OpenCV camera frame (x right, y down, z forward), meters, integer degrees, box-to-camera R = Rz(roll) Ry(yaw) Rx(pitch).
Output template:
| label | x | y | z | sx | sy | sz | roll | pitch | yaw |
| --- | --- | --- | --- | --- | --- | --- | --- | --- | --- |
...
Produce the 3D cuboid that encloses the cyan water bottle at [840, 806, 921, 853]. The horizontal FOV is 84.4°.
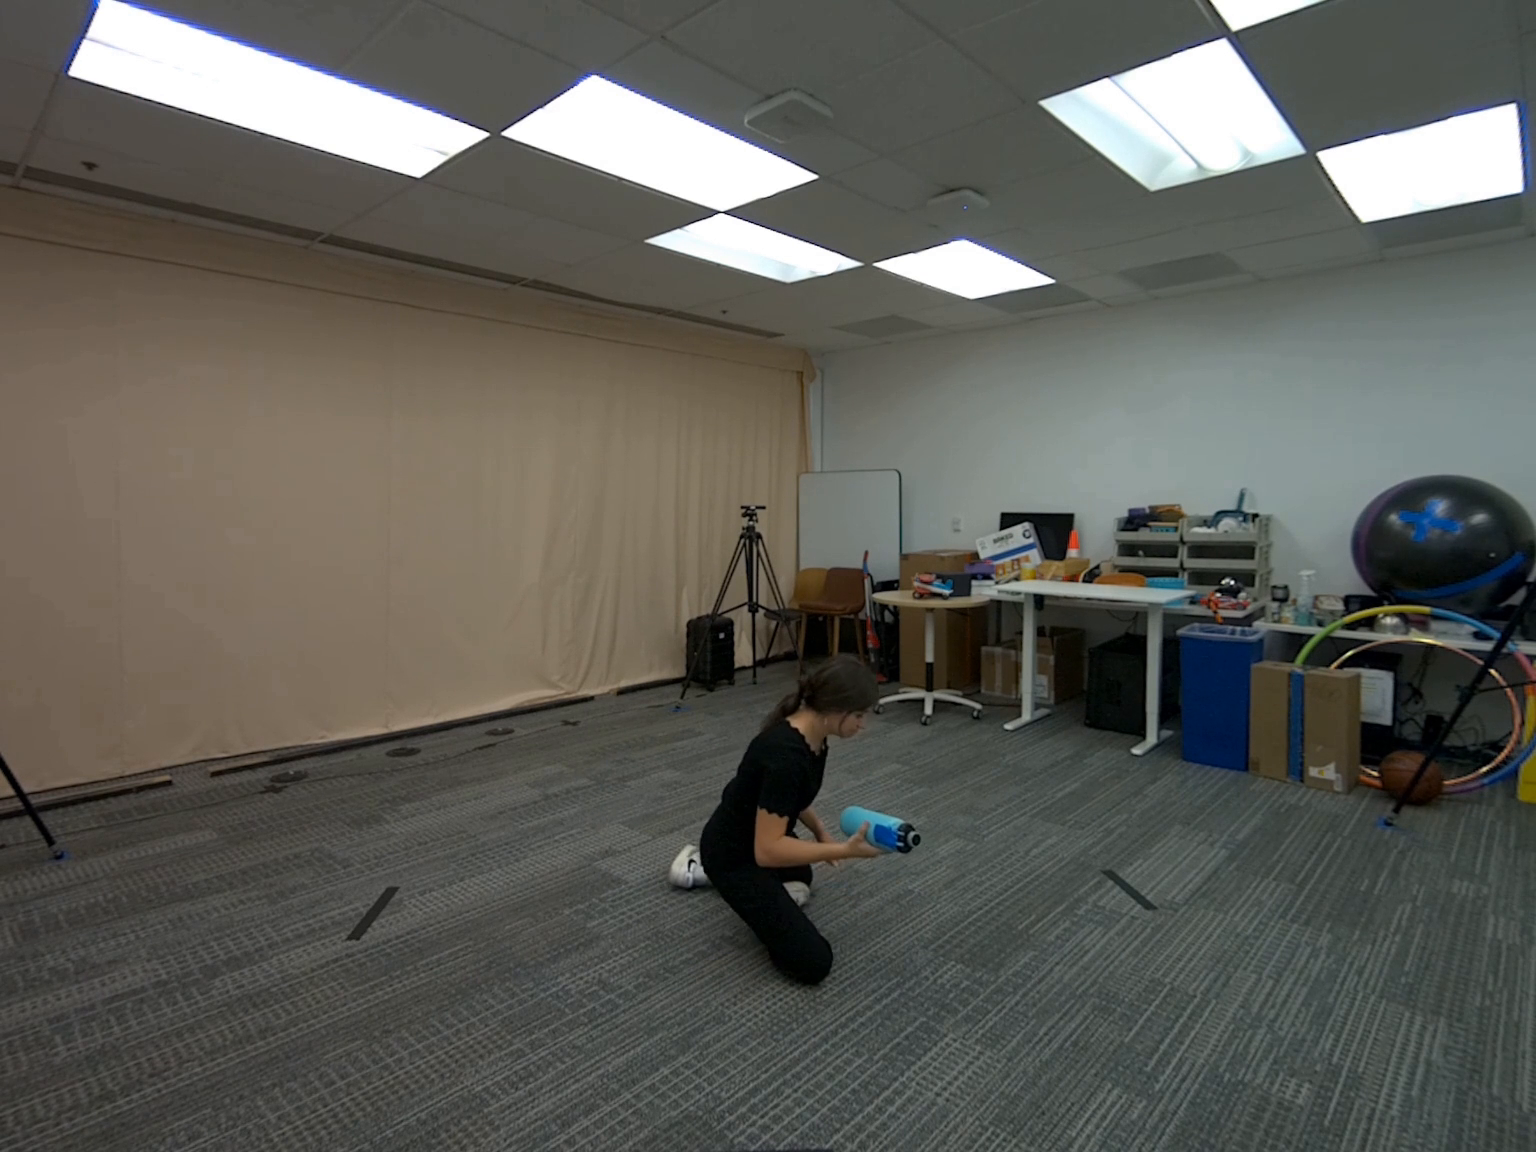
| label | x | y | z | sx | sy | sz | roll | pitch | yaw |
| --- | --- | --- | --- | --- | --- | --- | --- | --- | --- |
| cyan water bottle | 0.313 | 0.704 | 2.336 | 0.090 | 0.092 | 0.289 | -2 | -4 | -27 |
